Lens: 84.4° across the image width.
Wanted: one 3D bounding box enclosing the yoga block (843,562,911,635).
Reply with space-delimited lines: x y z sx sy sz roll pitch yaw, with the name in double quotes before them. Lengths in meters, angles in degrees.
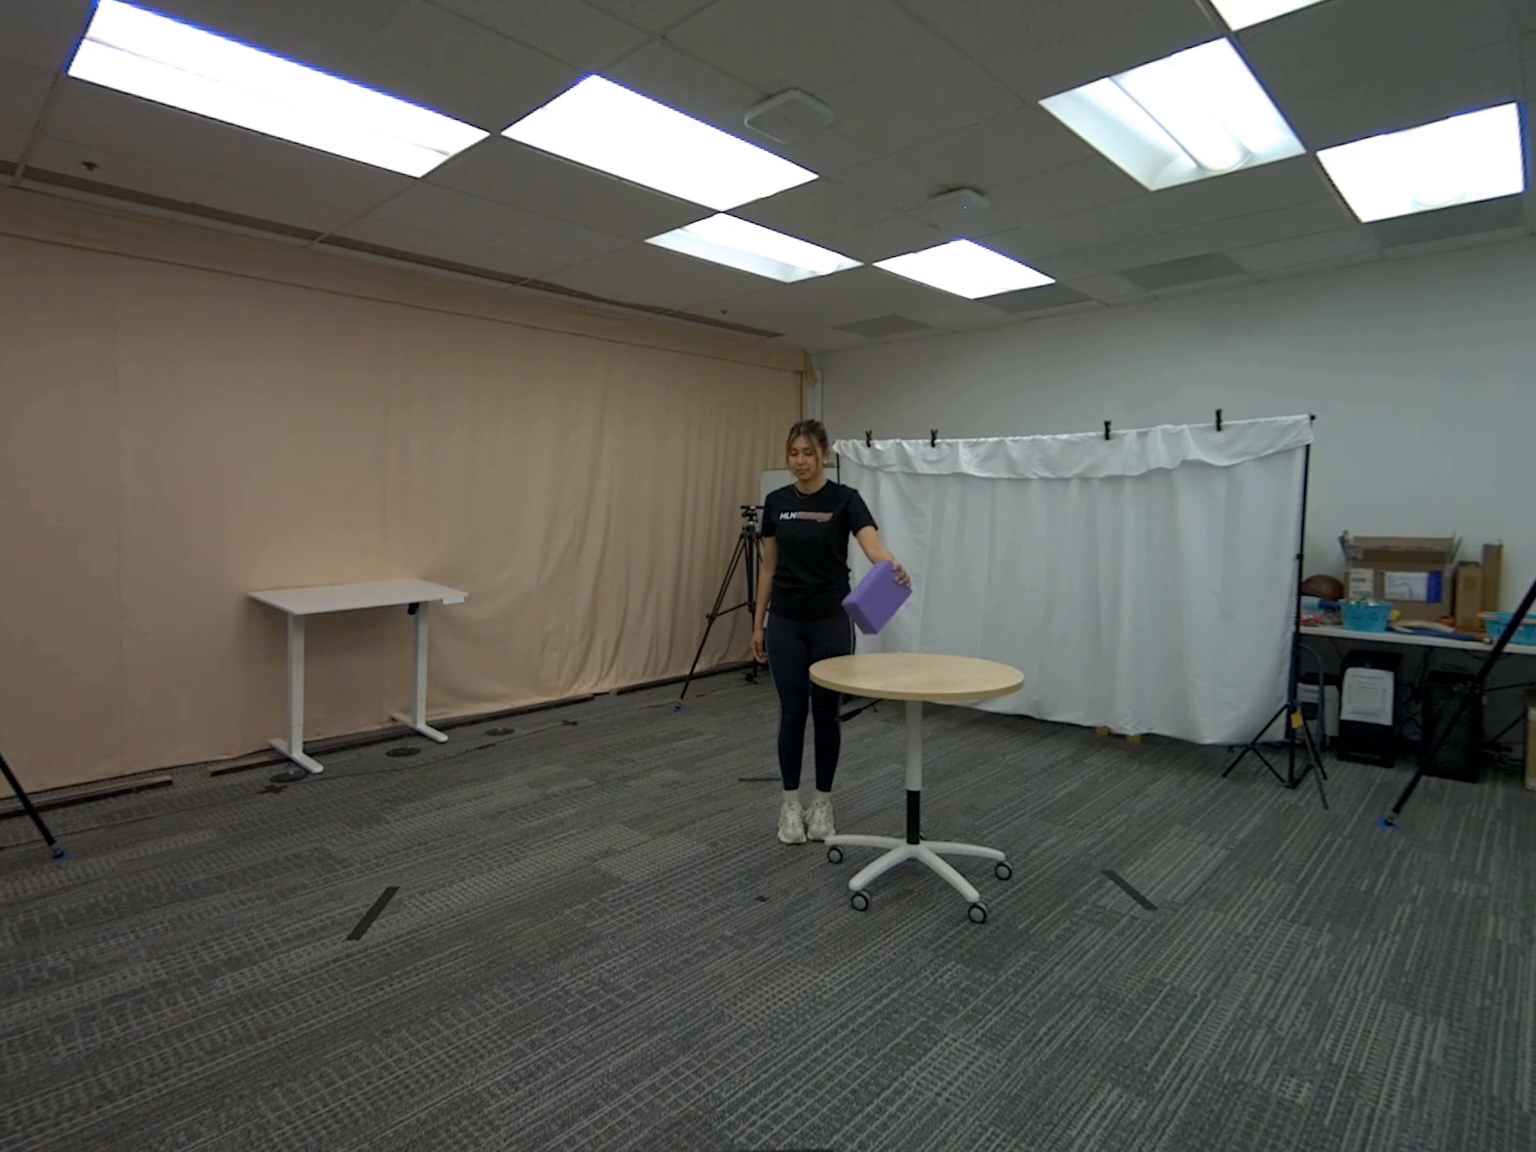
"yoga block" 0.378 0.070 2.891 0.227 0.147 0.078 -46 16 -26
